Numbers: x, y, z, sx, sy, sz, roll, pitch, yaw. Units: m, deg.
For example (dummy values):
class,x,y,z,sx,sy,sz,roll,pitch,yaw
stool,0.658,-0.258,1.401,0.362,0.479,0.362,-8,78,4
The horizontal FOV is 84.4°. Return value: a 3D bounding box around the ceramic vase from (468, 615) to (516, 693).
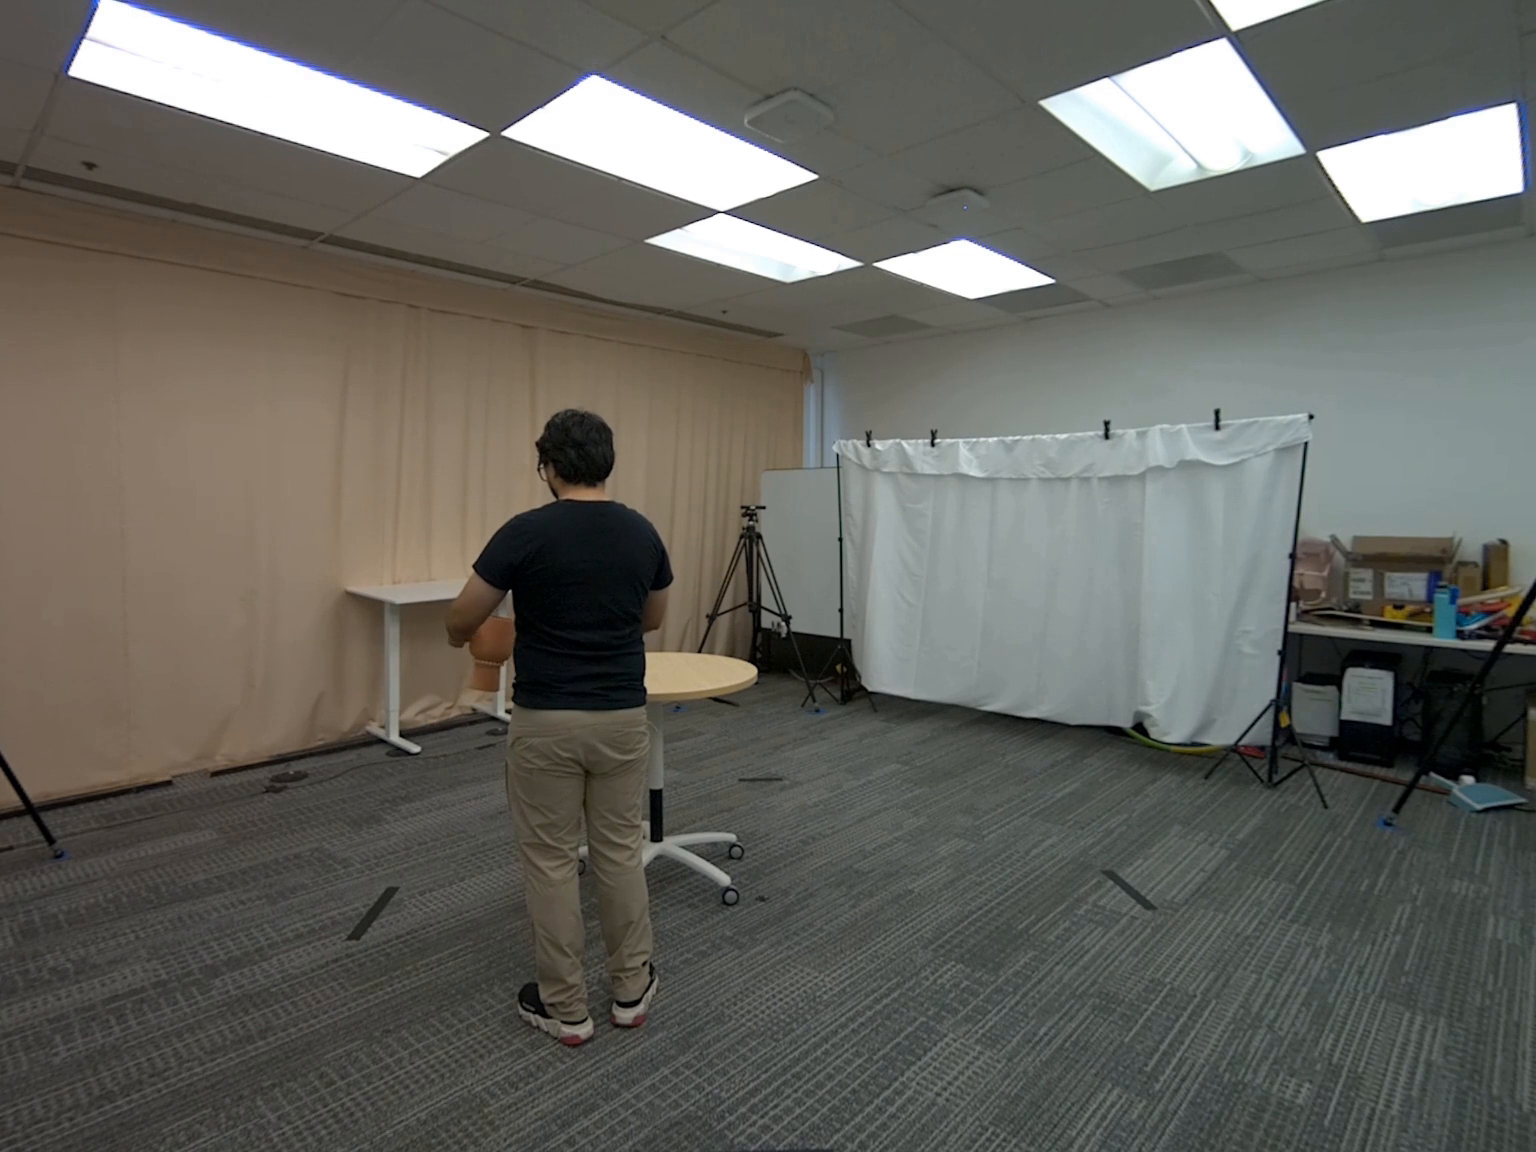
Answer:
class,x,y,z,sx,sy,sz,roll,pitch,yaw
ceramic vase,-0.844,0.234,2.536,0.159,0.220,0.134,8,-3,0
